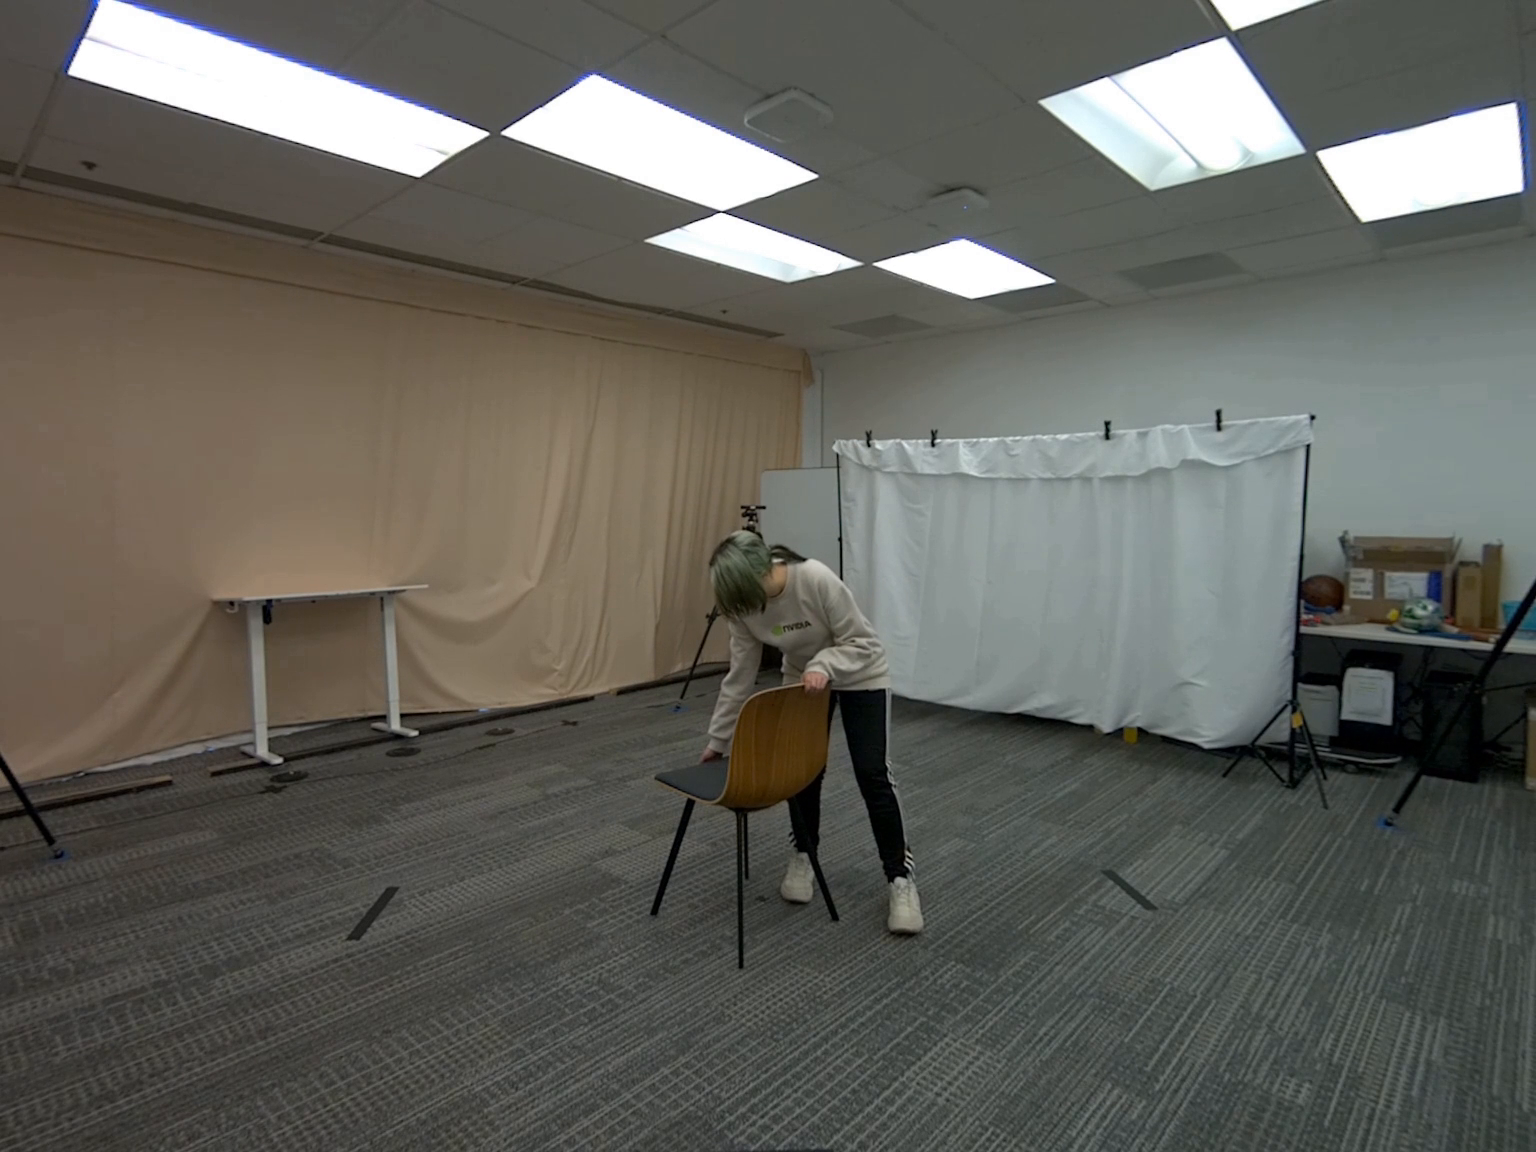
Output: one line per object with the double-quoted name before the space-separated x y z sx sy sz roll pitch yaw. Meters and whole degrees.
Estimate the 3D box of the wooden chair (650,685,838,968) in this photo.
"wooden chair" -0.092 0.735 2.811 0.463 0.874 0.541 -2 8 -43
